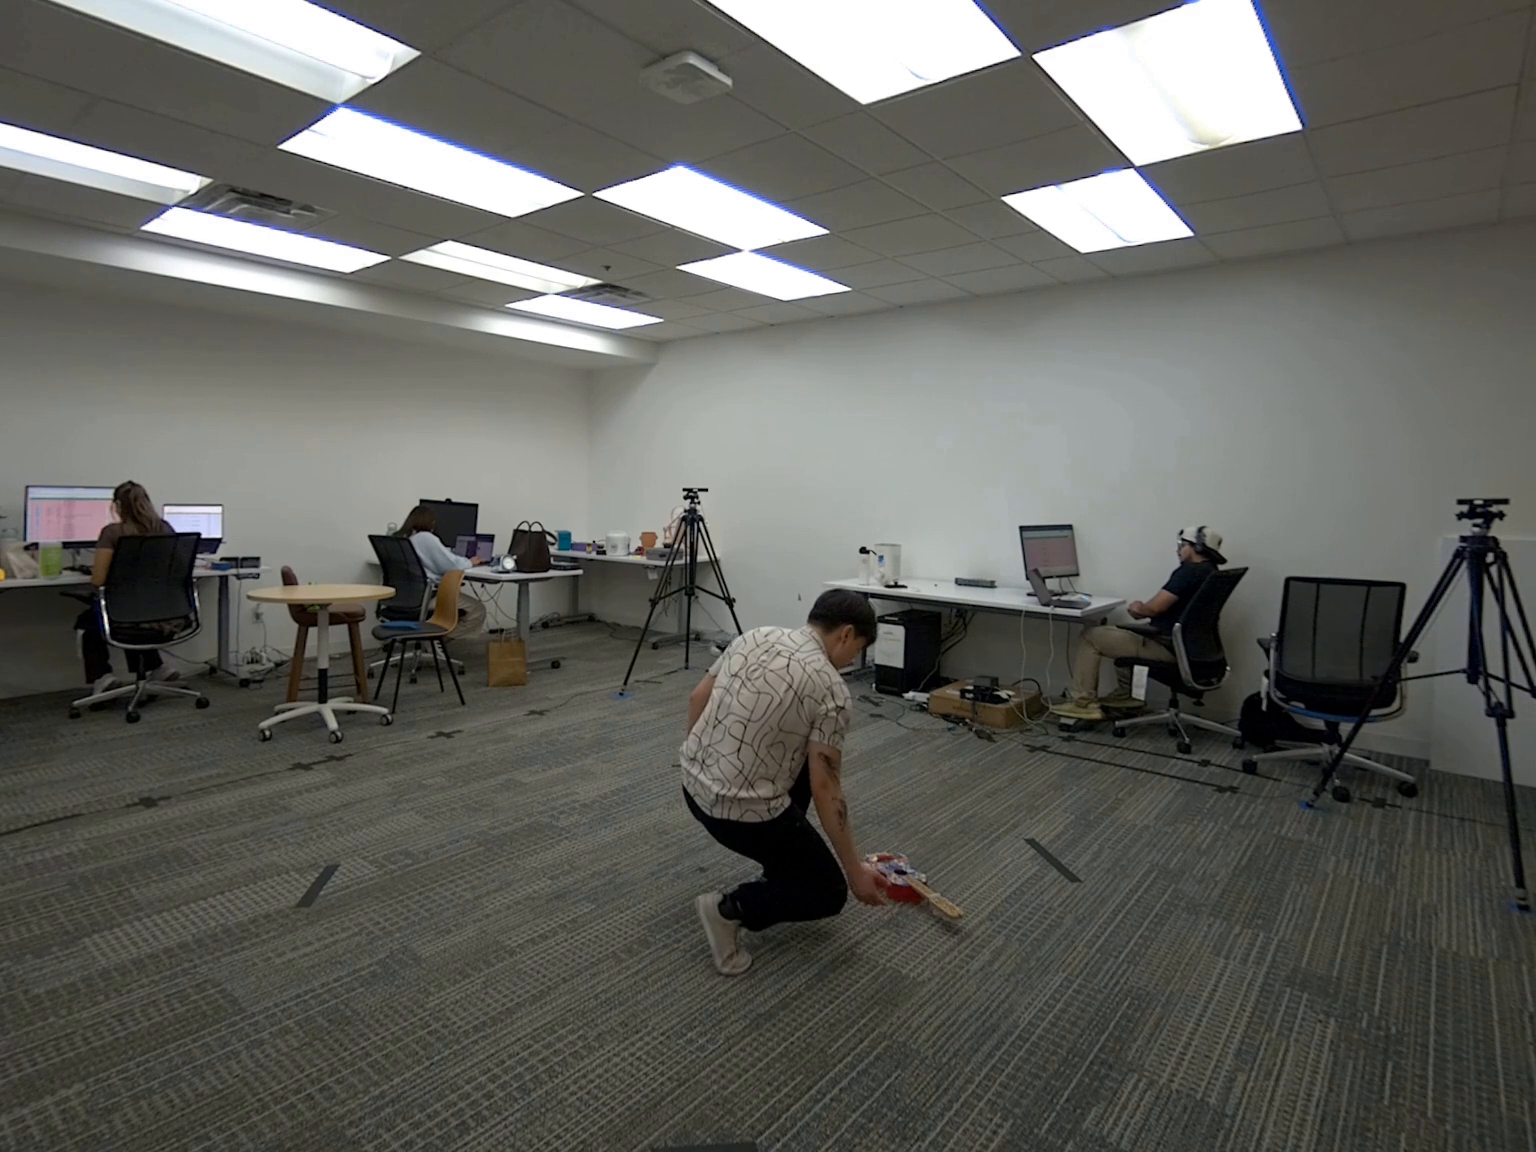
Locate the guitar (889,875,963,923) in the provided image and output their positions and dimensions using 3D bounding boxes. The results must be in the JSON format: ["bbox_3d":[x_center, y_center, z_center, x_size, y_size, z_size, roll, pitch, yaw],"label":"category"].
[{"bbox_3d":[0.464,1.072,2.906,0.190,0.070,0.507,0,6,-16],"label":"guitar"}]
